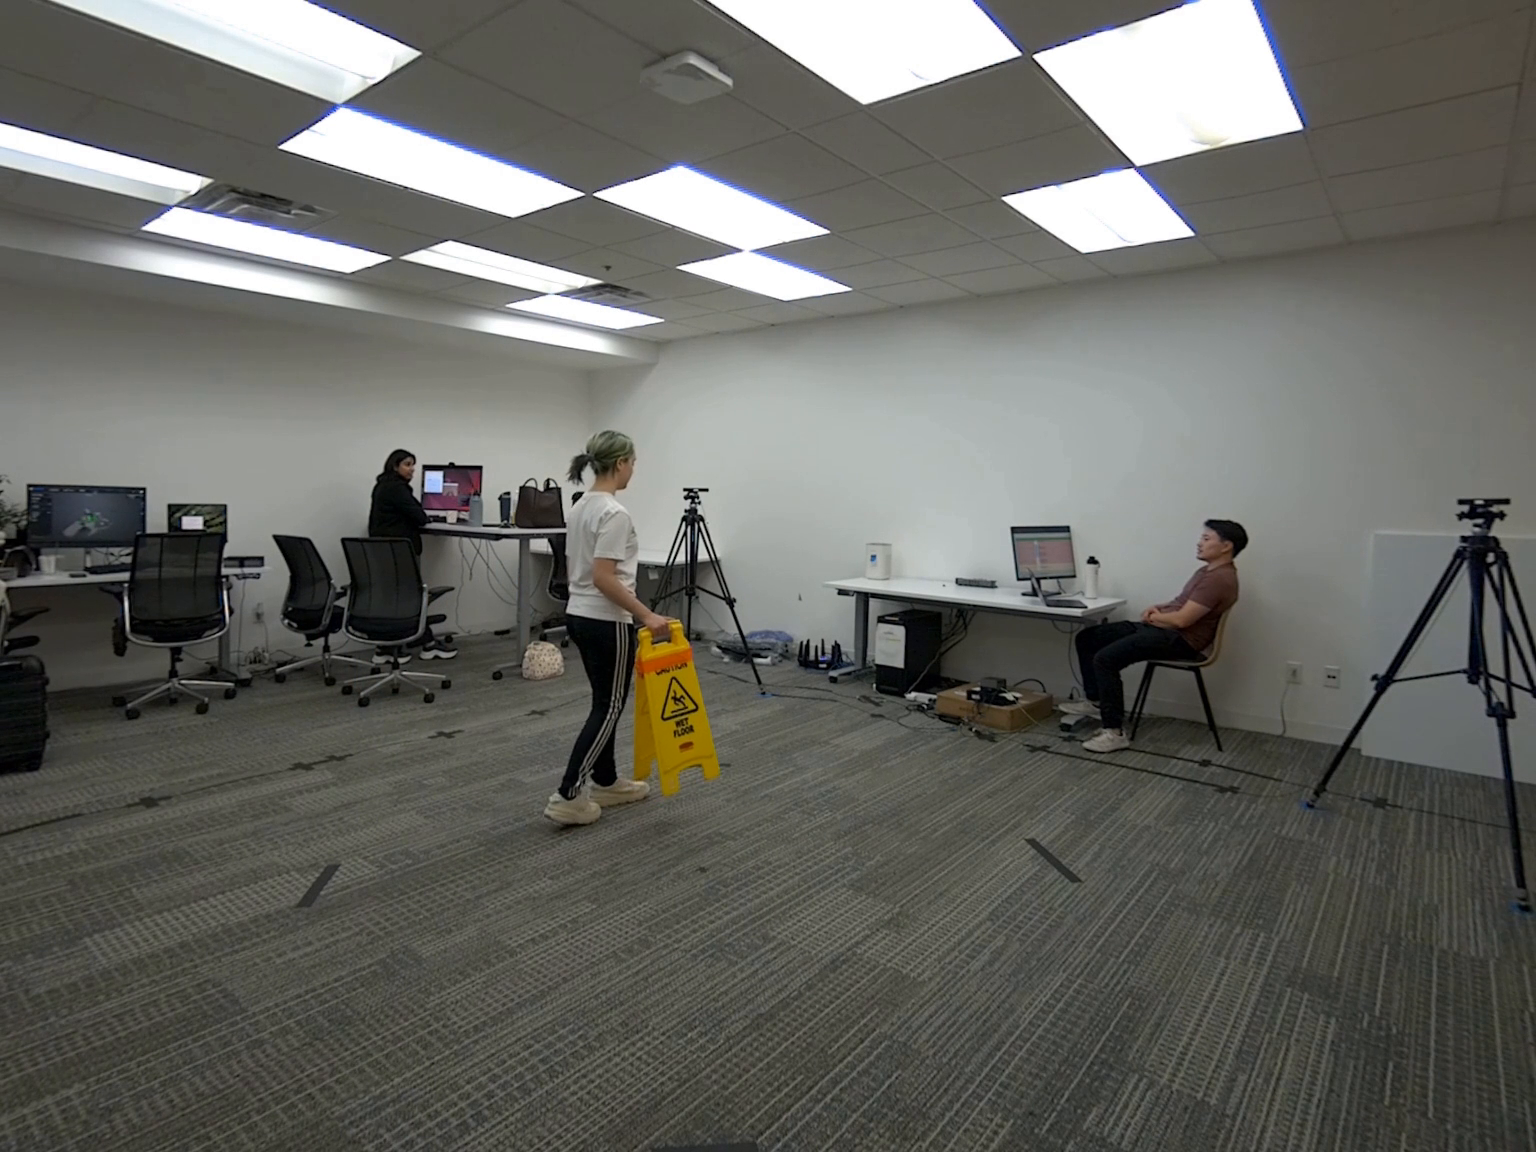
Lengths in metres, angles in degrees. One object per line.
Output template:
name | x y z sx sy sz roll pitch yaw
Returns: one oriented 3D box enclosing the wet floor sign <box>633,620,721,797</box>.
wet floor sign | -0.417 0.514 3.480 0.275 0.641 0.299 -11 10 -37
